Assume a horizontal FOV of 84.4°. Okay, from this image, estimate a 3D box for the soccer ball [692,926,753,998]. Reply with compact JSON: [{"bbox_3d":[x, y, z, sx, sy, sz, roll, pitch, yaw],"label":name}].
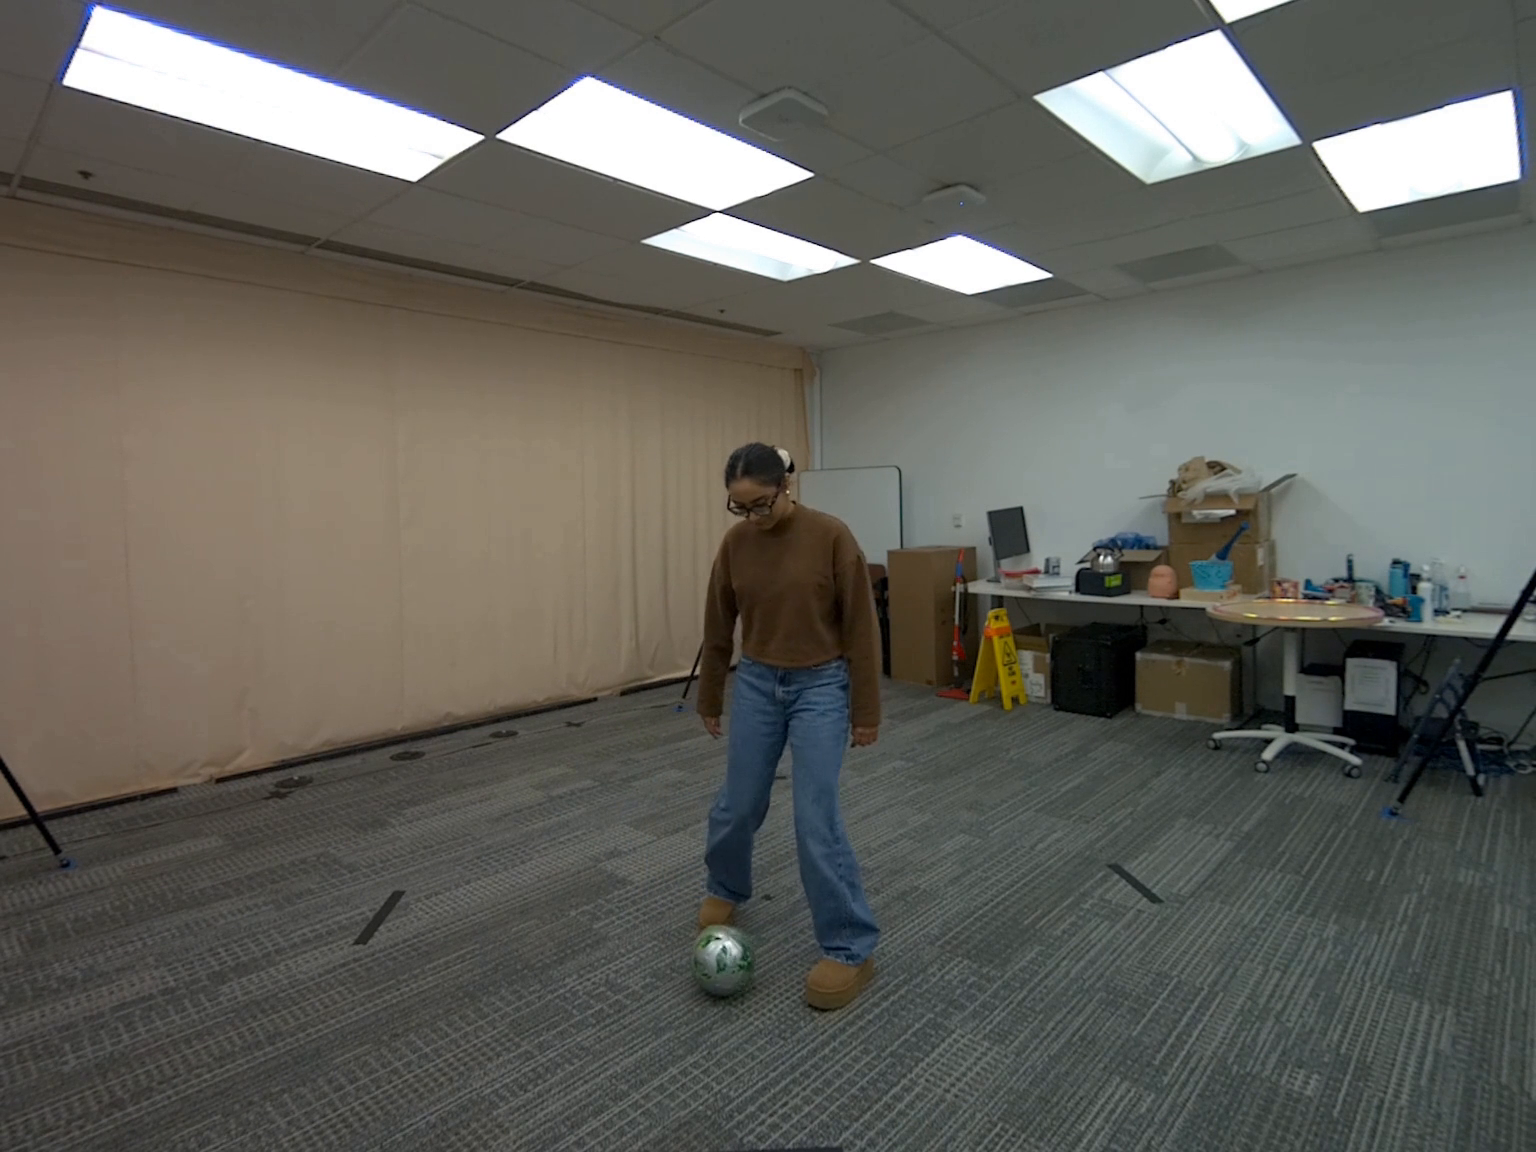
[{"bbox_3d":[-0.128,1.093,2.414,0.187,0.187,0.188,-1,4,-2],"label":"soccer ball"}]
